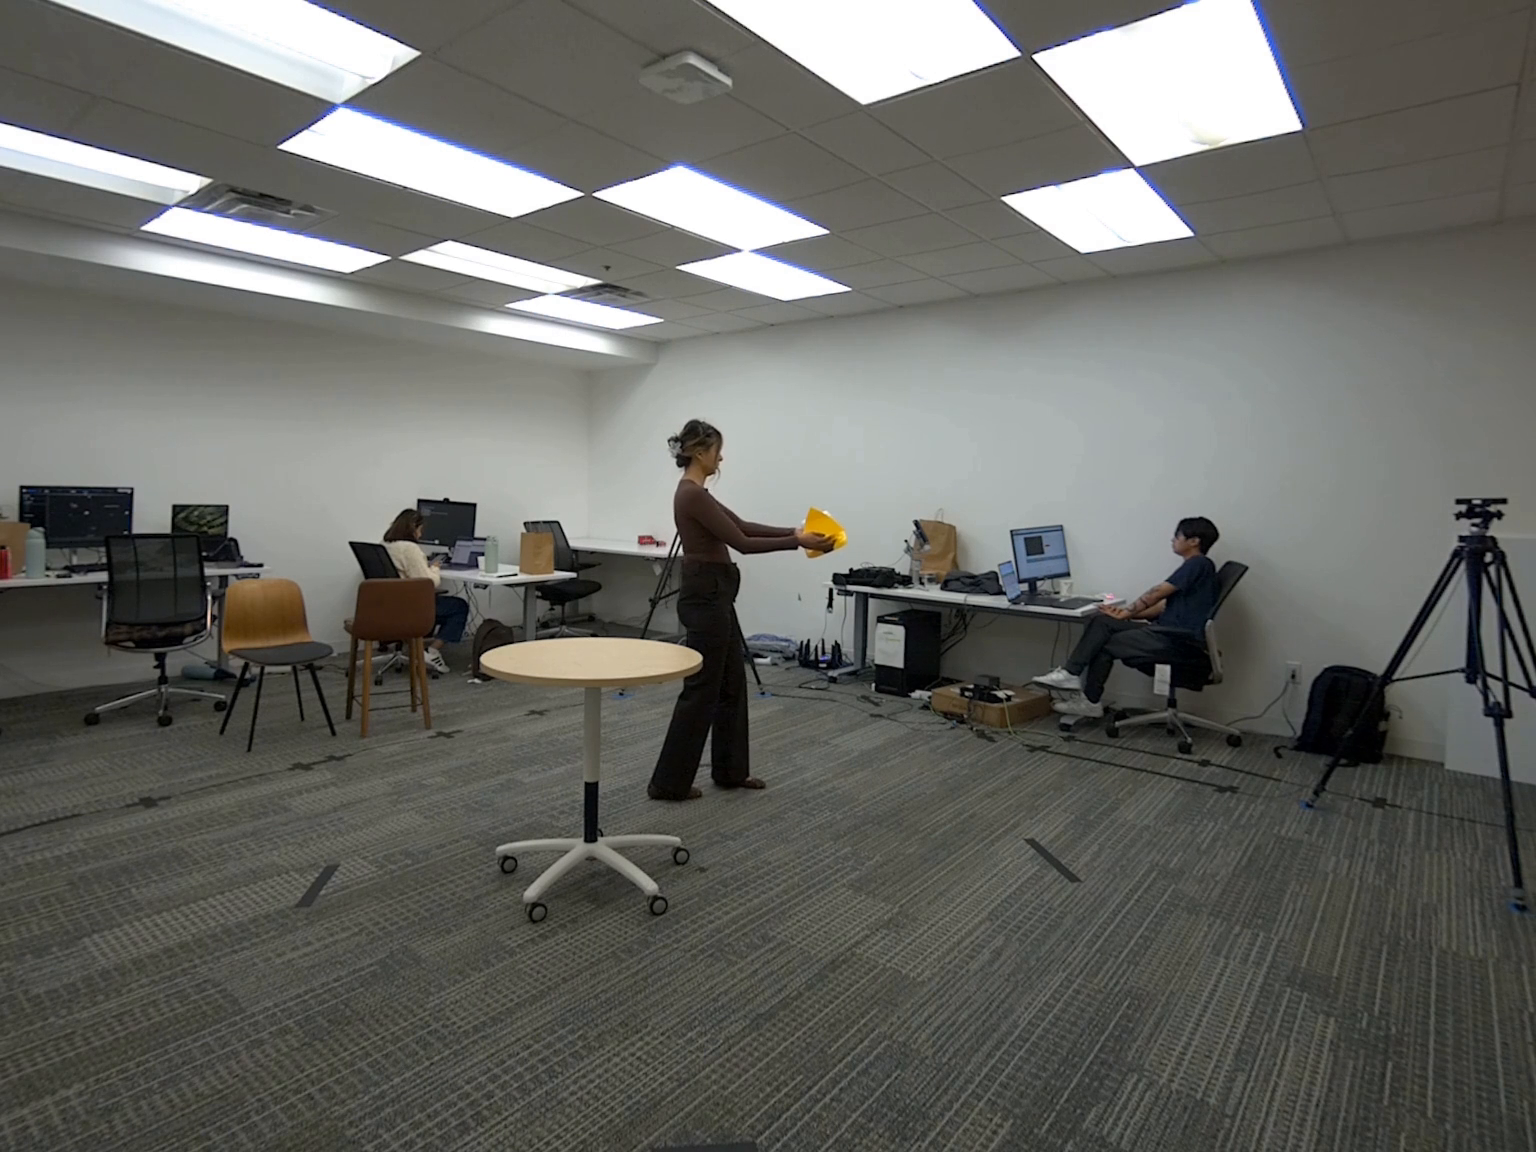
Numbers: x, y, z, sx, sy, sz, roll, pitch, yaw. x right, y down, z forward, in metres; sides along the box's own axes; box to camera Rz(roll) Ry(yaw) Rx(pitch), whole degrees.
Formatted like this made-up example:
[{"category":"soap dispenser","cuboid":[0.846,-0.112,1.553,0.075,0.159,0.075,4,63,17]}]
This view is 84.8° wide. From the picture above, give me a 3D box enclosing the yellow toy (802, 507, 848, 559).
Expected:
[{"category":"yellow toy","cuboid":[0.213,-0.232,3.893,0.205,0.226,0.196,-23,16,4]}]
